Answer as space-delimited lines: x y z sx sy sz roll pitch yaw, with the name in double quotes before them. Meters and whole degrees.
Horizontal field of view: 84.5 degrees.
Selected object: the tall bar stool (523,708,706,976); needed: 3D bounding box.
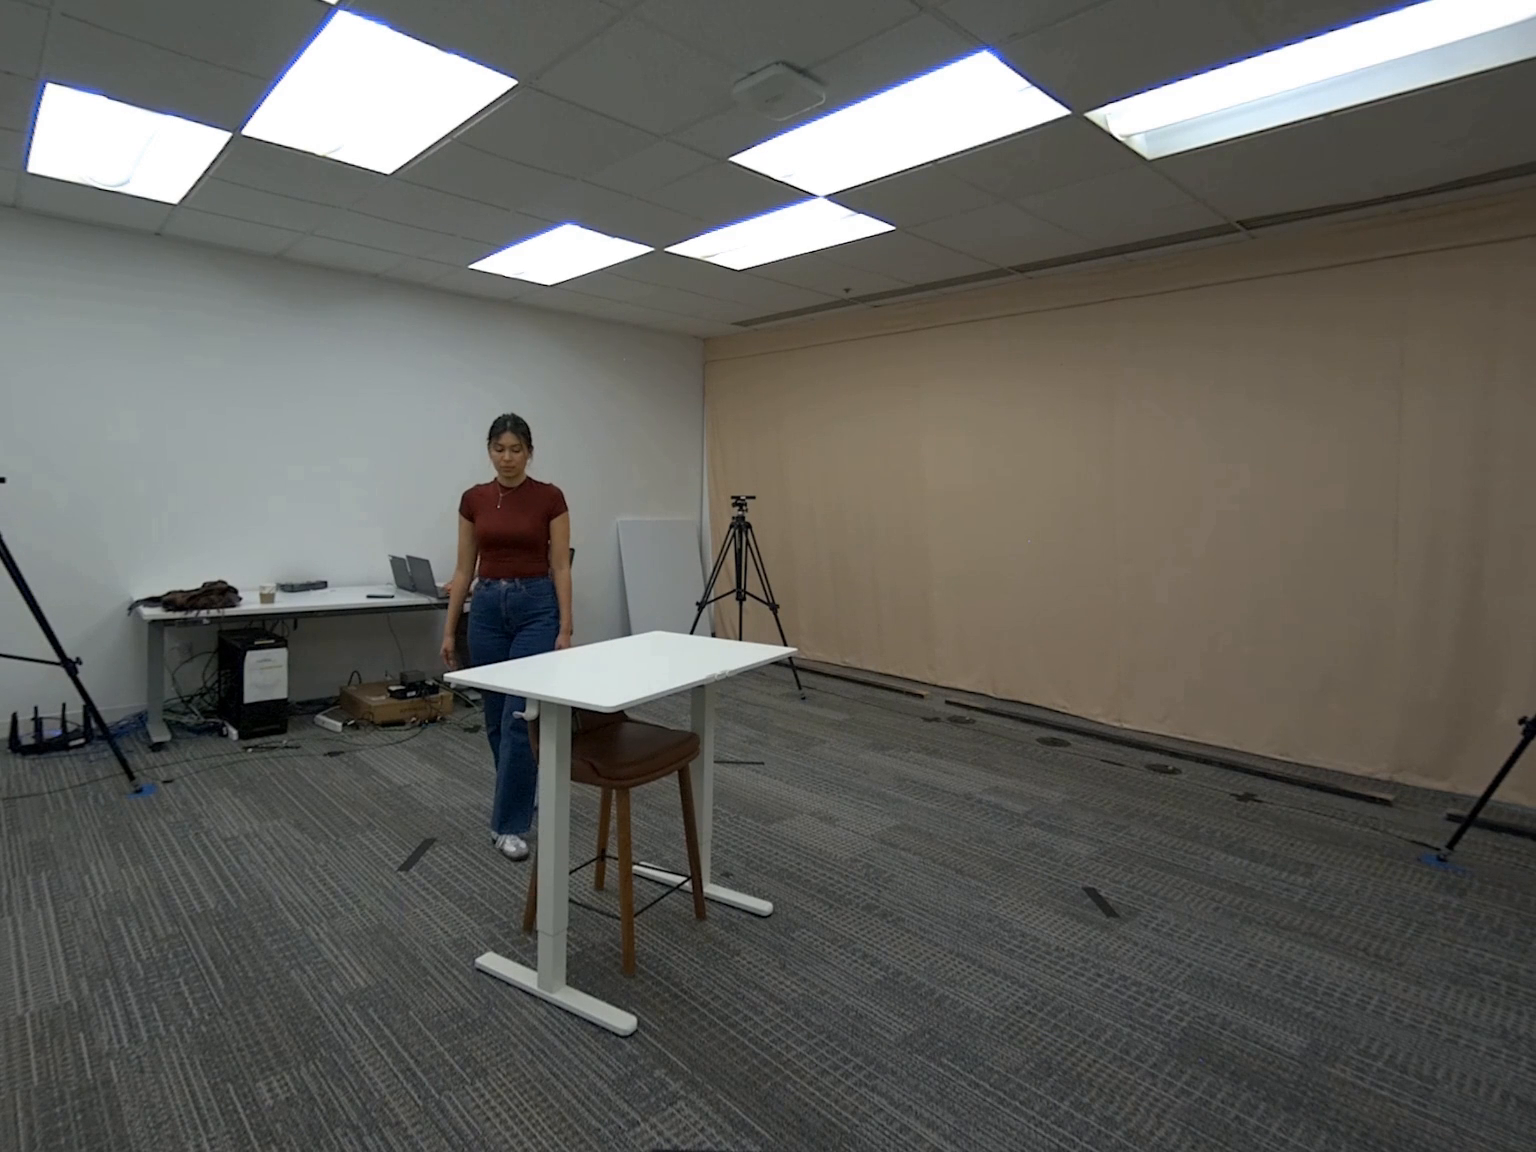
"tall bar stool" -0.494 0.704 2.688 0.477 0.888 0.447 1 3 30
